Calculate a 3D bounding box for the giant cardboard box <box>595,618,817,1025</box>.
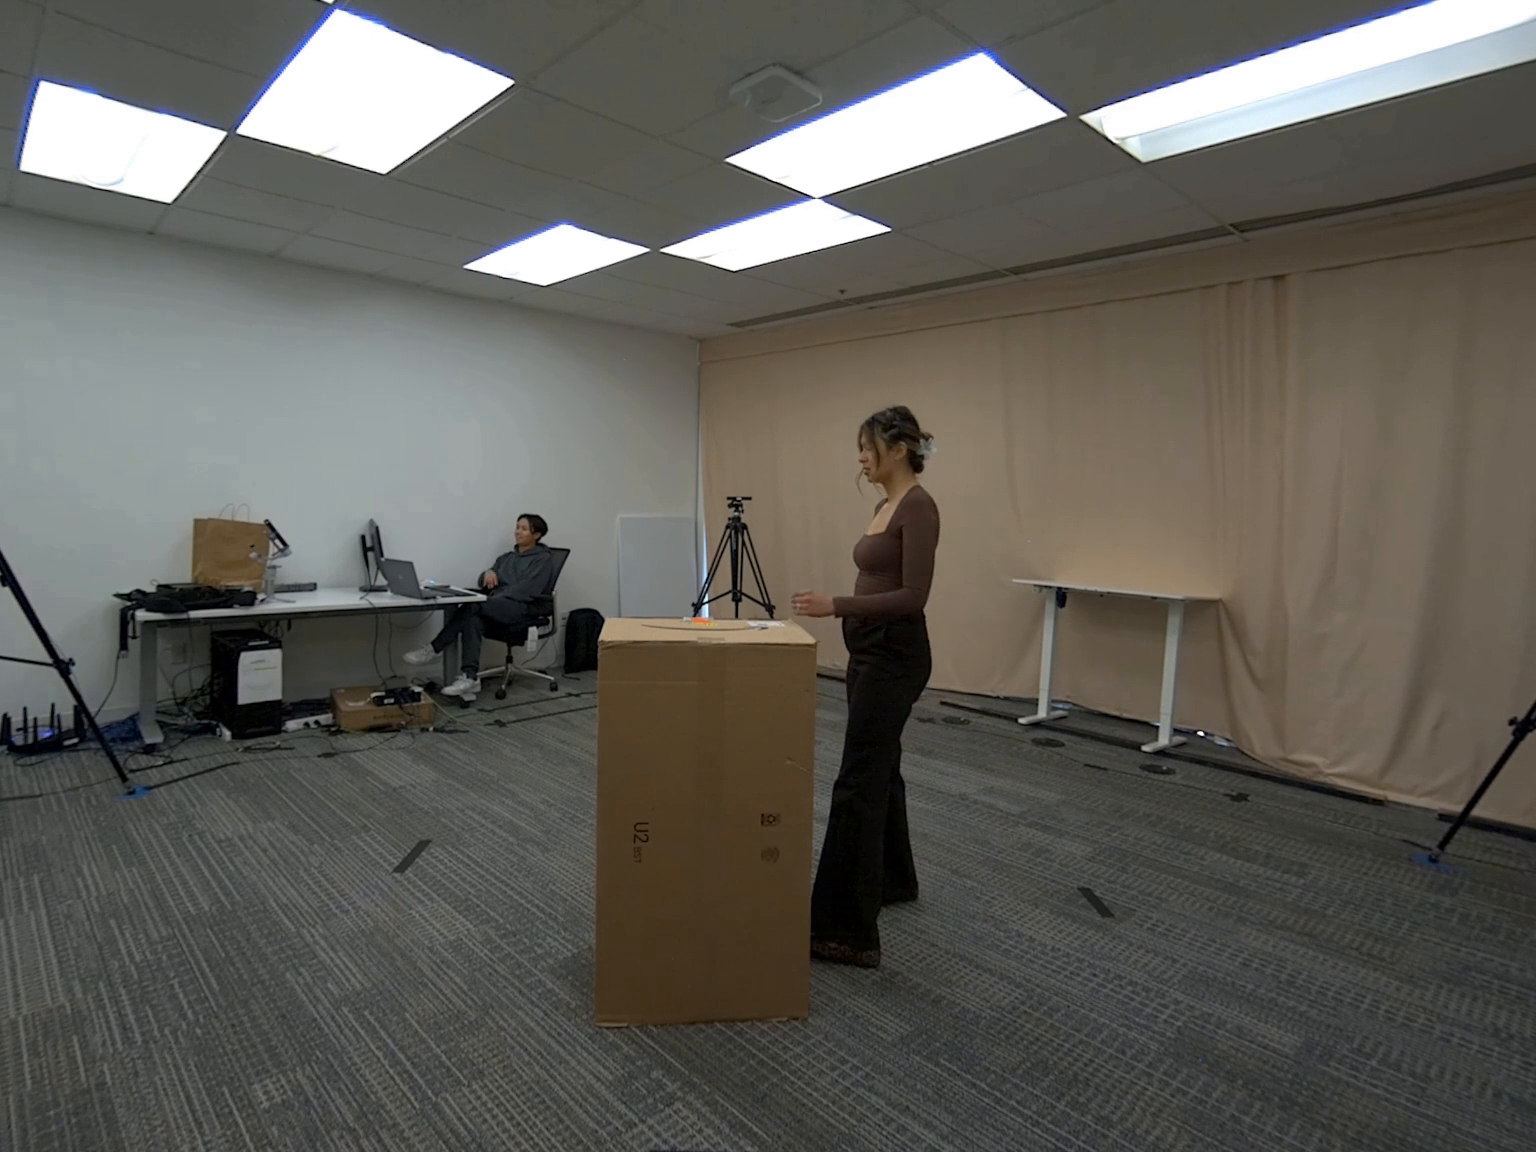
[{"bbox_3d":[-0.198,0.660,2.411,0.581,1.024,0.450,1,3,-7],"label":"giant cardboard box"}]
